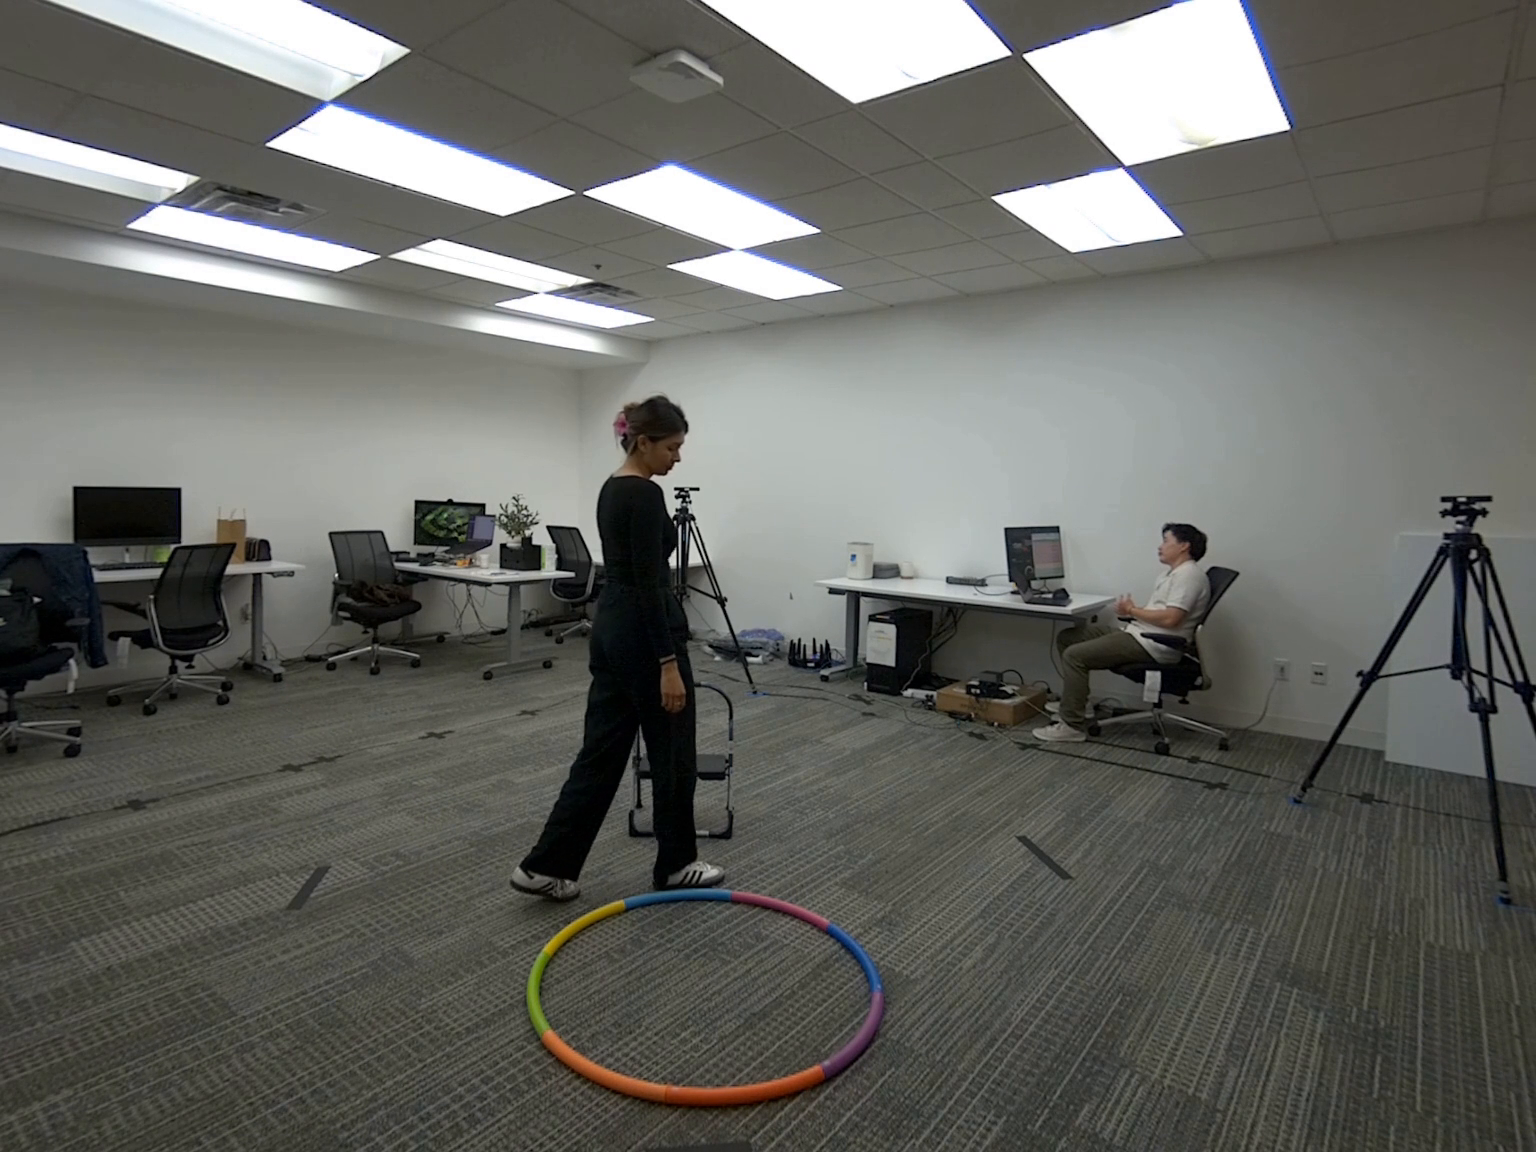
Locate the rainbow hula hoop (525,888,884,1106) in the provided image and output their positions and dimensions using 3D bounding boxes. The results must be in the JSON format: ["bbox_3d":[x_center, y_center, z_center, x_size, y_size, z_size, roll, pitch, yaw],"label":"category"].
[{"bbox_3d":[-0.182,1.106,2.400,0.978,0.035,0.984,1,6,-2],"label":"rainbow hula hoop"}]
